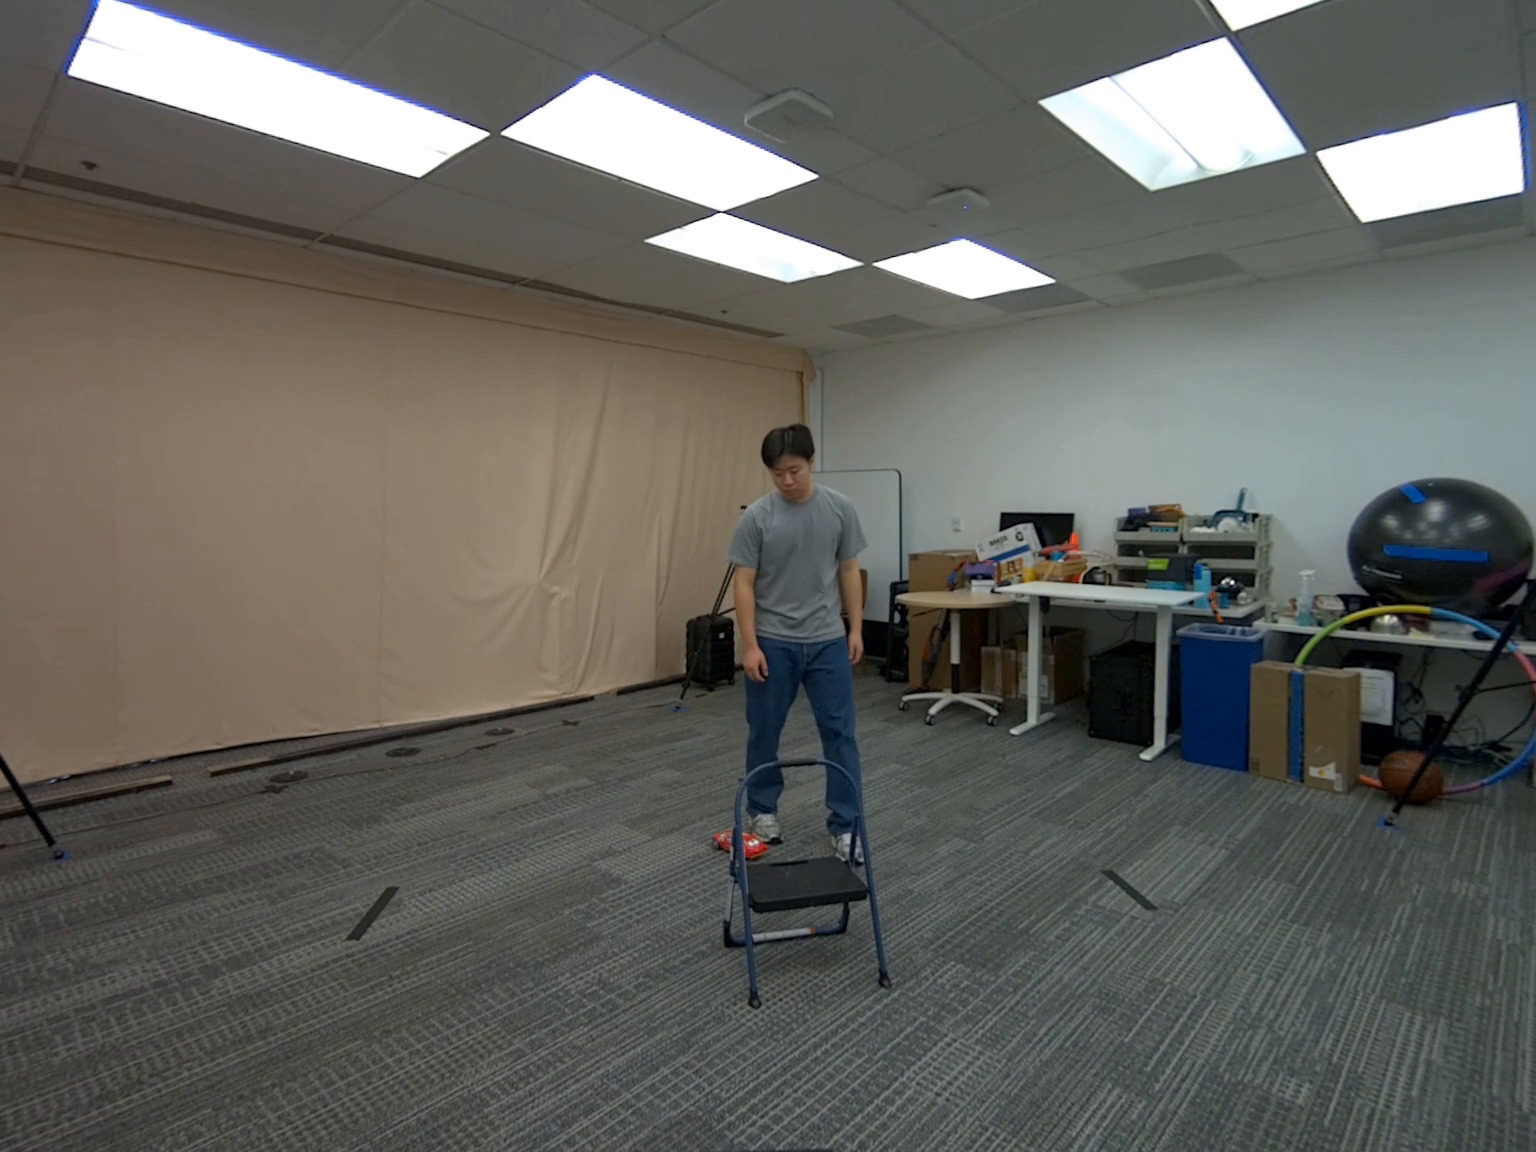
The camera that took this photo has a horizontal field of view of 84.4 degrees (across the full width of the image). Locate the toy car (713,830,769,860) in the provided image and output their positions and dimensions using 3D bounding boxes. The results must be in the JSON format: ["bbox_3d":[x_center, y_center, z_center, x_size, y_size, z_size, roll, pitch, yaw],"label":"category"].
[{"bbox_3d":[-0.111,1.081,3.377,0.126,0.083,0.262,-4,-4,-41],"label":"toy car"}]
